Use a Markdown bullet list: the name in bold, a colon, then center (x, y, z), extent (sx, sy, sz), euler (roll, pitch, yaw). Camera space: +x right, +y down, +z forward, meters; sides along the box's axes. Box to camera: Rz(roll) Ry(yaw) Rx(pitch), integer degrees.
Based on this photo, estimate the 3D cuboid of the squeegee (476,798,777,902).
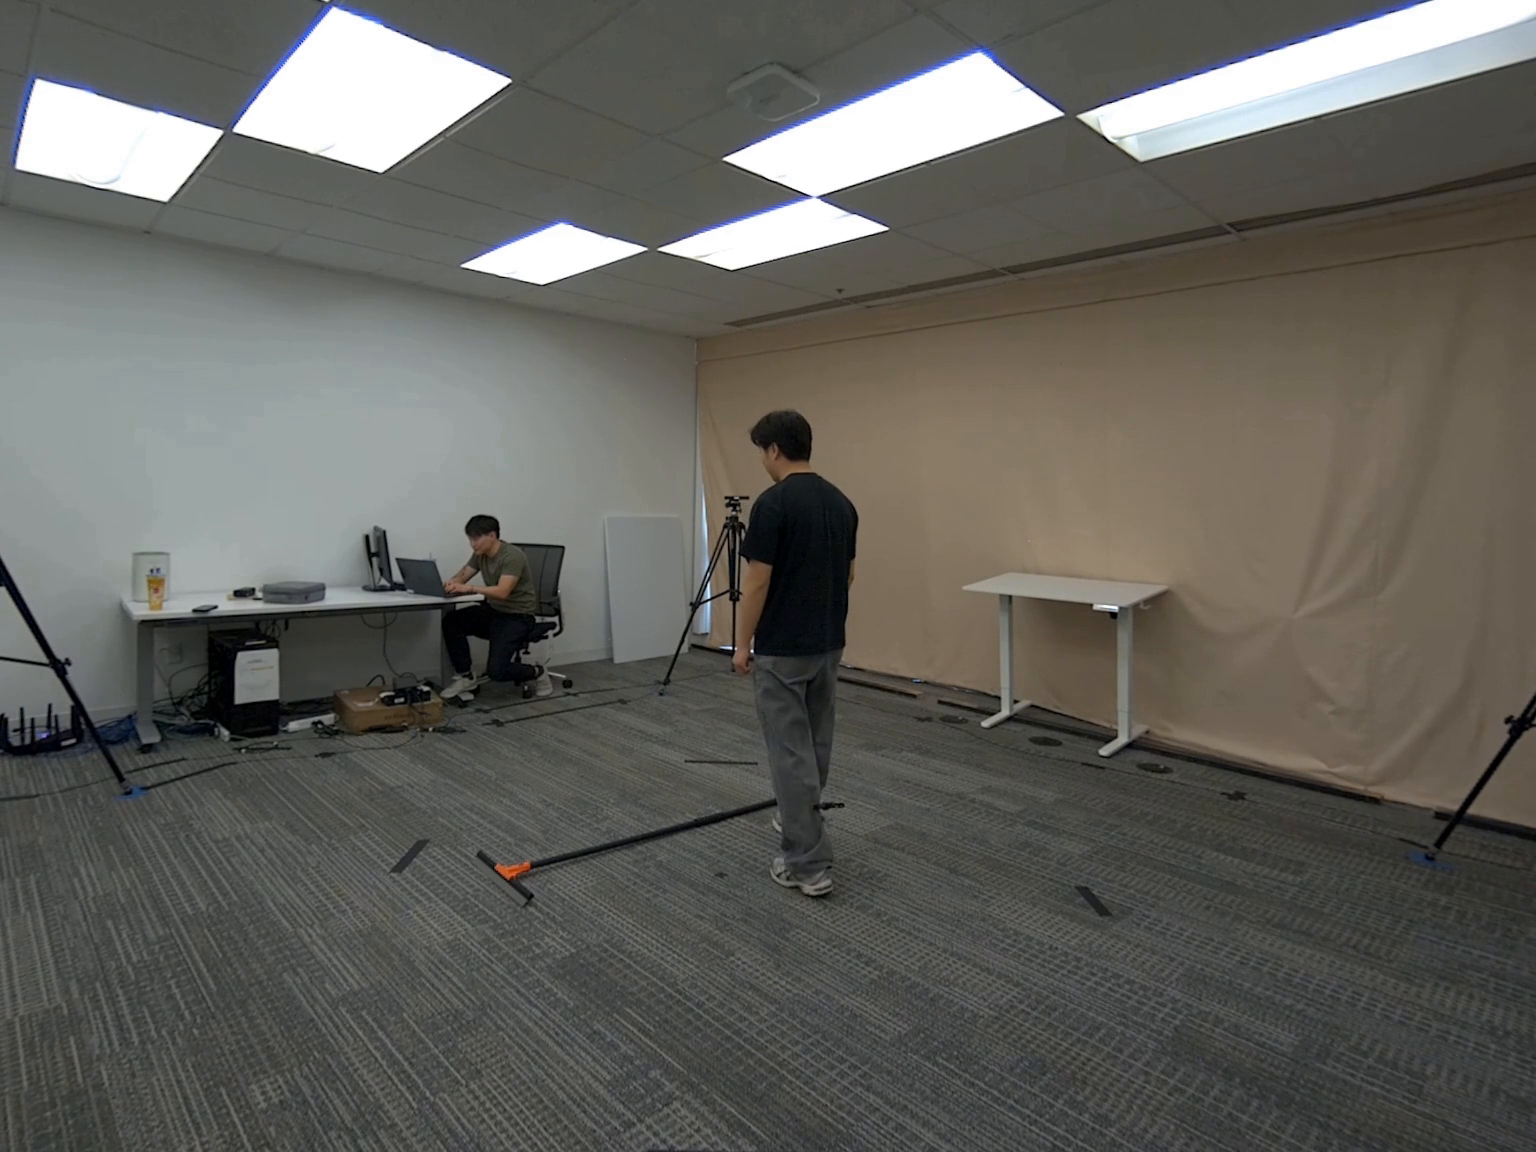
- **squeegee**: center (-0.389, 1.033, 3.466), extent (1.502, 0.053, 0.449), euler (-2, 6, -39)
